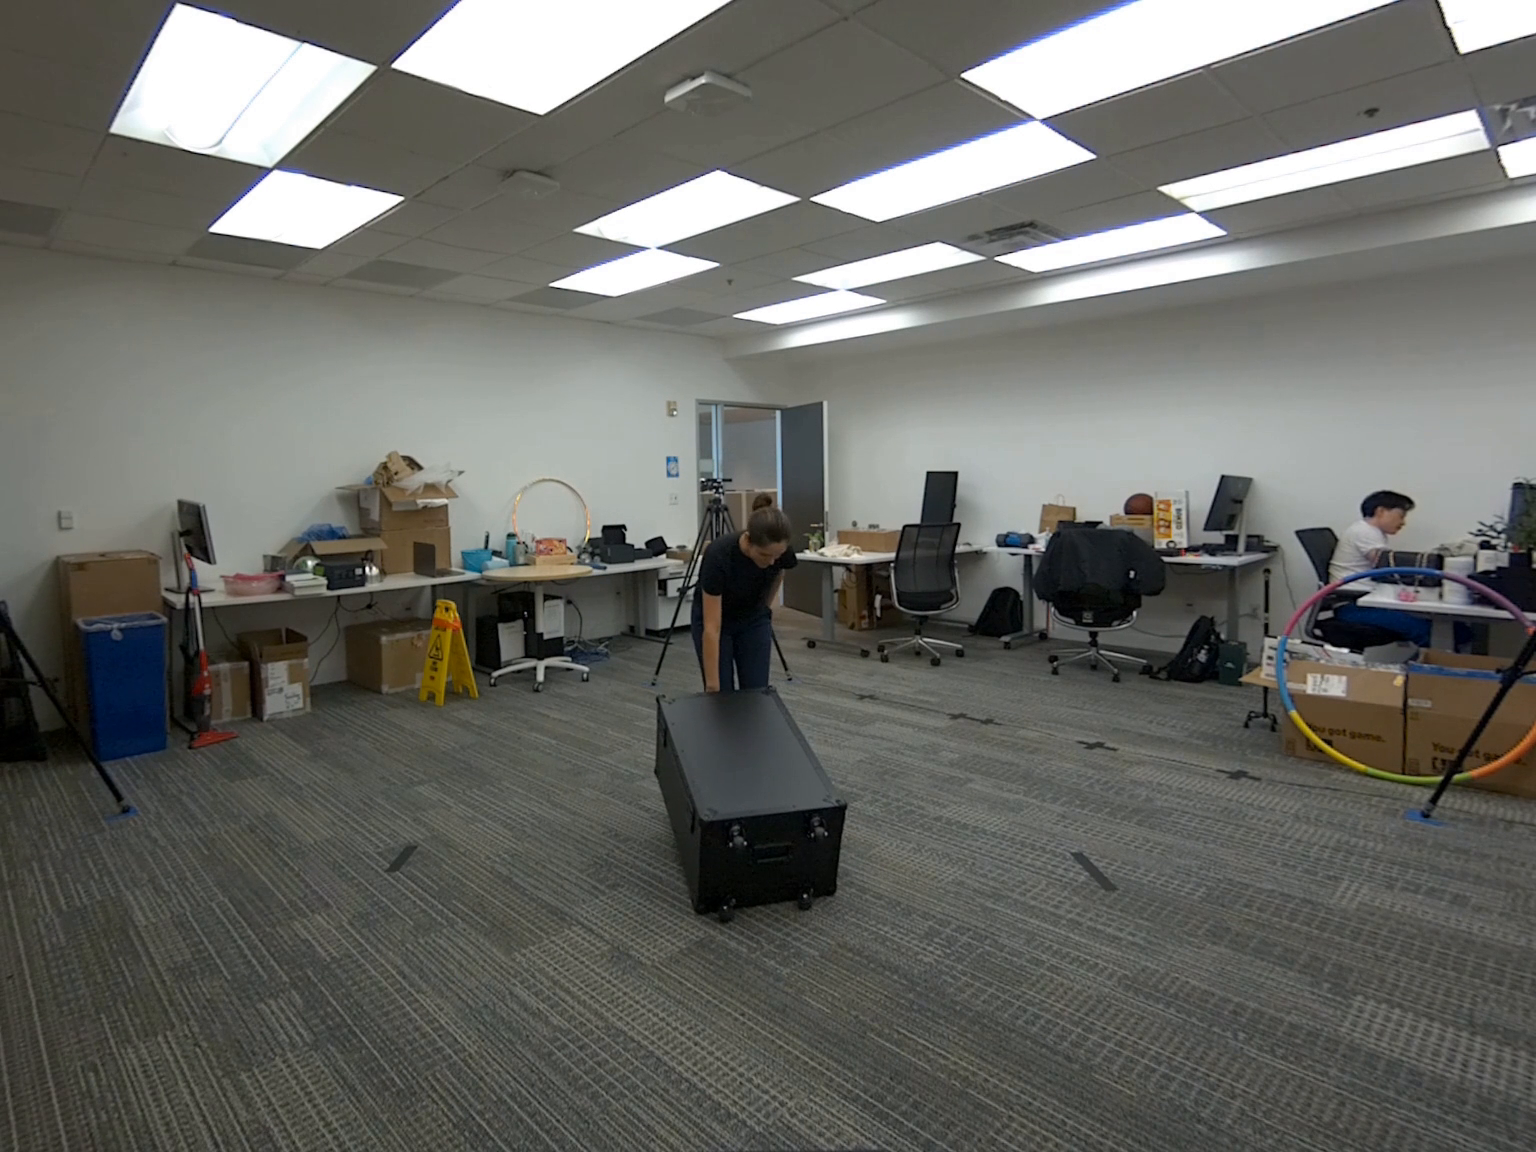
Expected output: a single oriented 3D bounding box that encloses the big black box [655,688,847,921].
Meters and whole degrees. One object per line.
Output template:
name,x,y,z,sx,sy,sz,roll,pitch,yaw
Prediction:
big black box,-0.101,0.784,3.083,0.513,0.390,0.888,-2,21,-17
